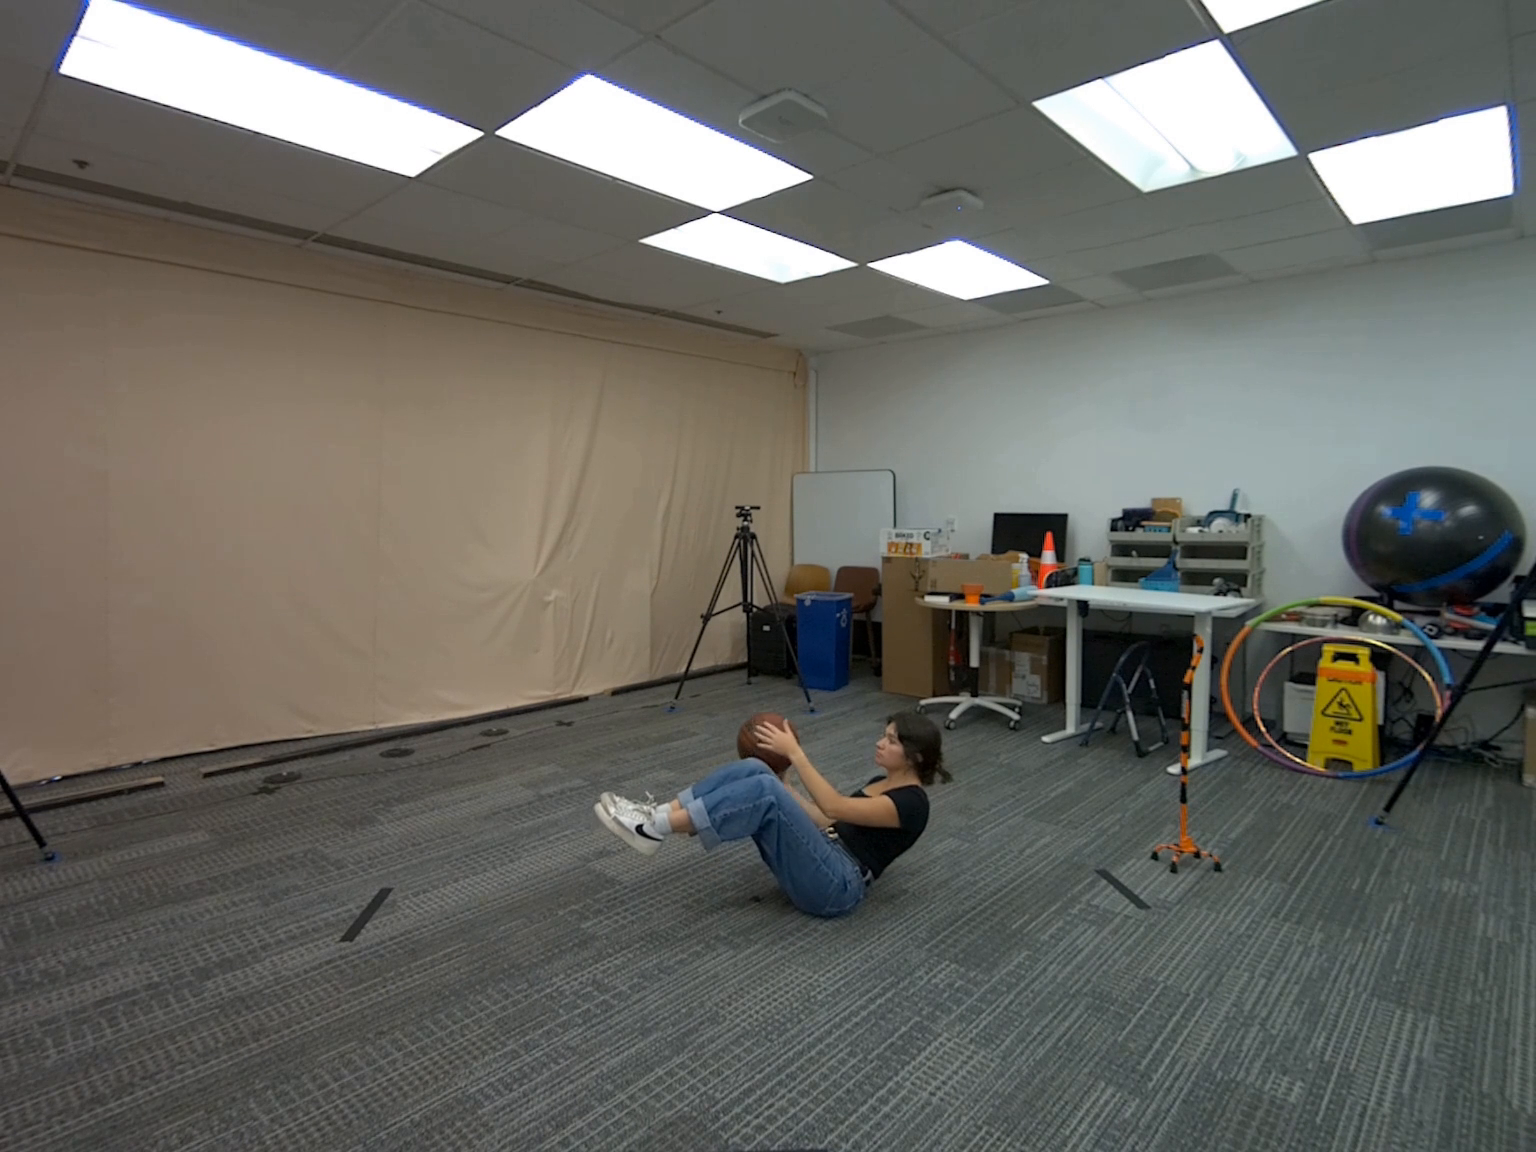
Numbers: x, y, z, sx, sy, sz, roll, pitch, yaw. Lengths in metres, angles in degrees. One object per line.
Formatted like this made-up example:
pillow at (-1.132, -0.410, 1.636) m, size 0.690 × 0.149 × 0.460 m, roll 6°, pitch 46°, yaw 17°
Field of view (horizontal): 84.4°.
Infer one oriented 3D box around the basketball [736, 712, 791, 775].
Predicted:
basketball at (0.002, 0.649, 3.229) m, size 0.236 × 0.235 × 0.237 m, roll 0°, pitch 4°, yaw -2°
